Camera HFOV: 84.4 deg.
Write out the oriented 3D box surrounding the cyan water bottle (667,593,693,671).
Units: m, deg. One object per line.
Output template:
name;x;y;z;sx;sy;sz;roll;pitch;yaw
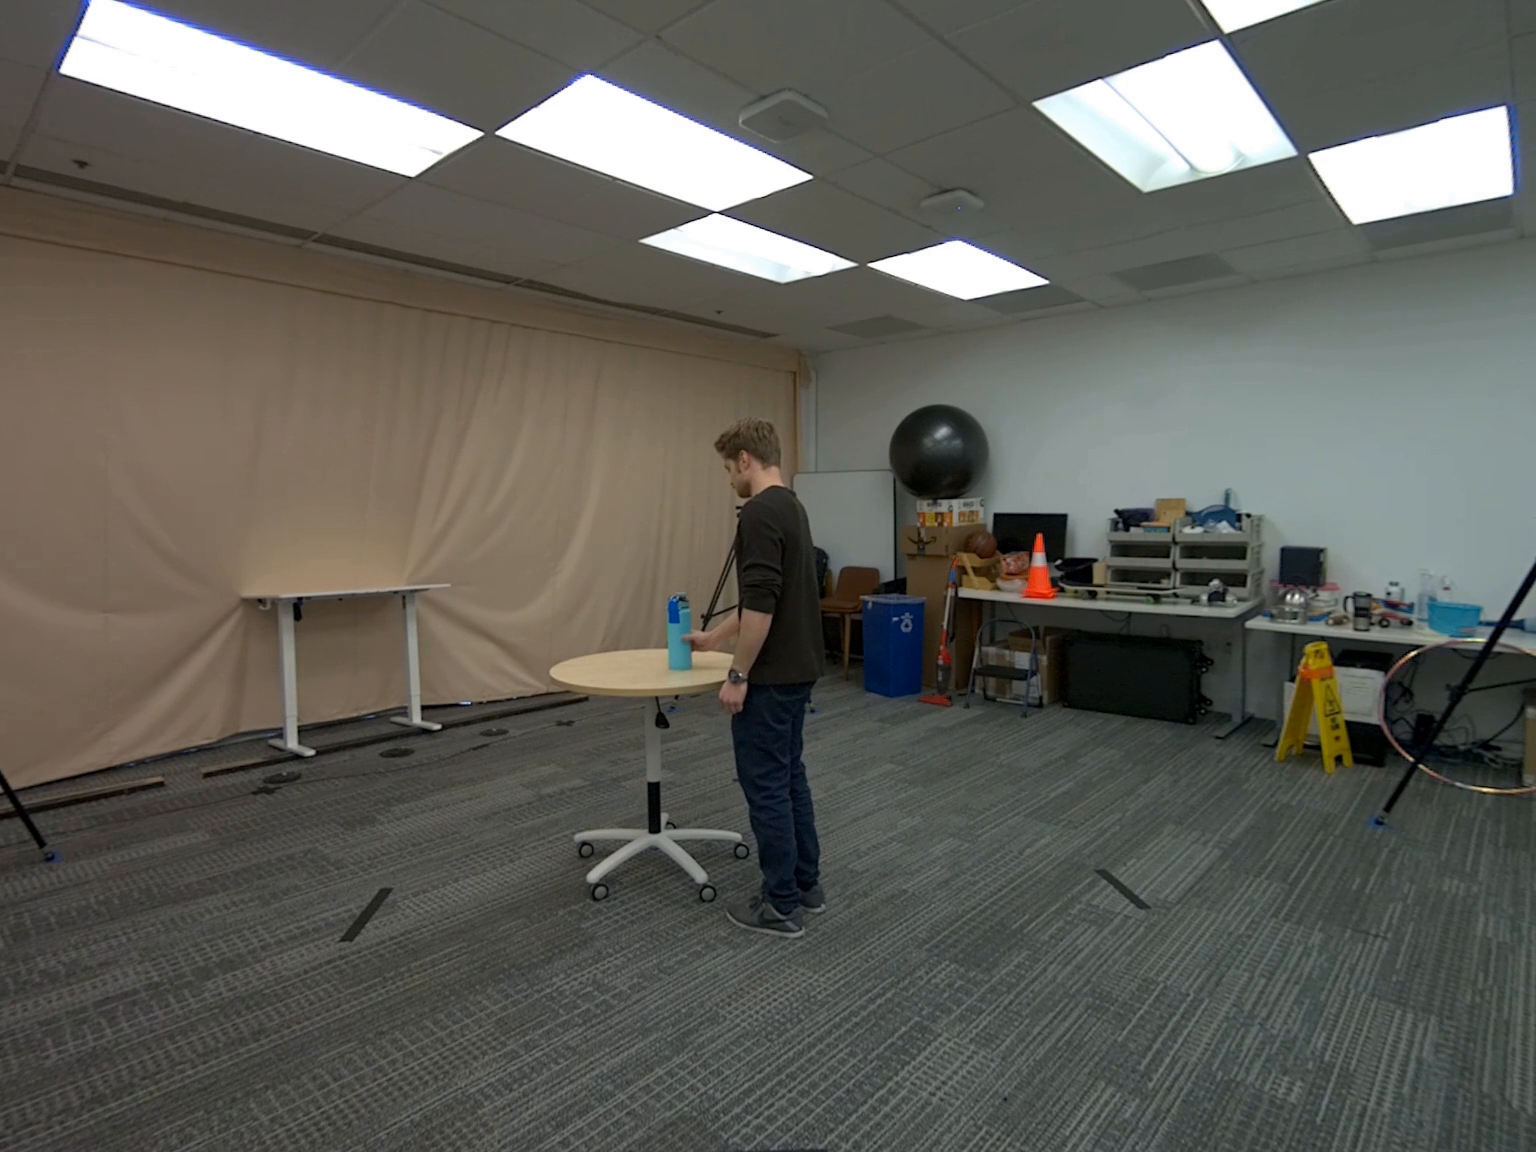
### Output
cyan water bottle;-0.335;0.209;3.171;0.092;0.283;0.092;-1;1;-2
